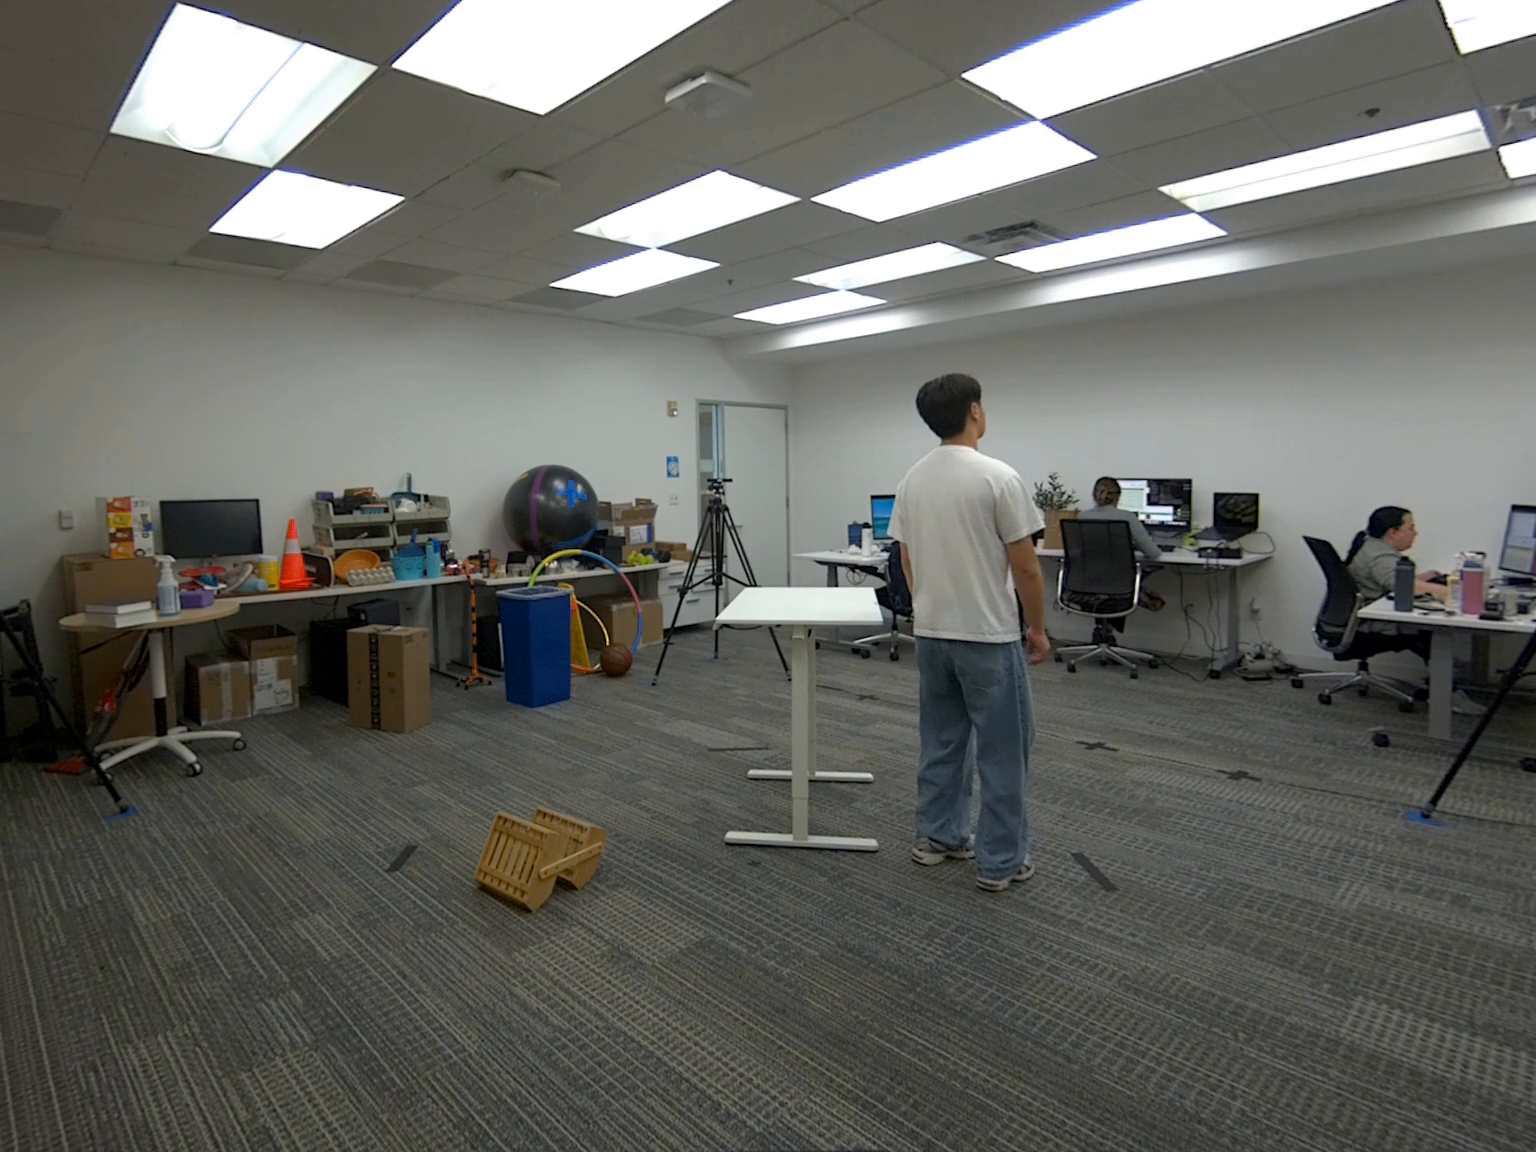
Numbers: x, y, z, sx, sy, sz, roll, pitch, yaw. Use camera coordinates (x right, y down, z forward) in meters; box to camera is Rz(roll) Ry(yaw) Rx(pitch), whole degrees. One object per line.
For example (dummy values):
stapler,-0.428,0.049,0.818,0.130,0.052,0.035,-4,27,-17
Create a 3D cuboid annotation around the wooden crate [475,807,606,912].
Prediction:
wooden crate,-0.789,0.983,2.990,0.334,0.305,0.263,4,-21,39
